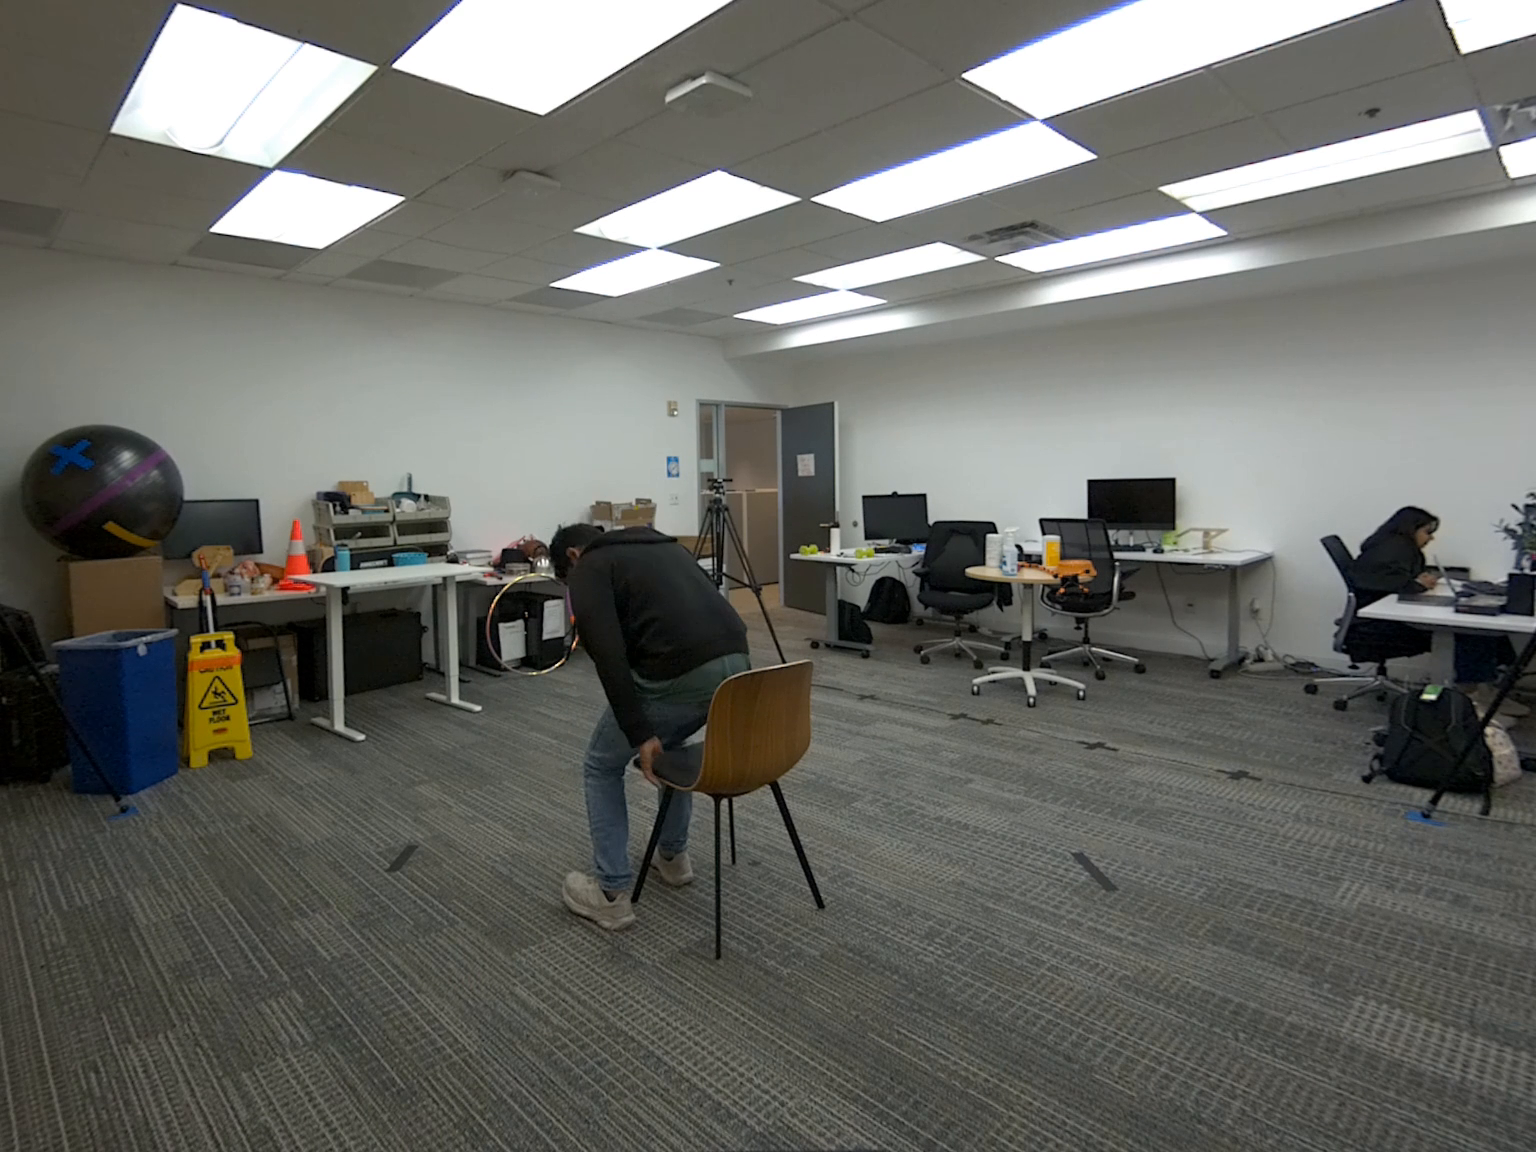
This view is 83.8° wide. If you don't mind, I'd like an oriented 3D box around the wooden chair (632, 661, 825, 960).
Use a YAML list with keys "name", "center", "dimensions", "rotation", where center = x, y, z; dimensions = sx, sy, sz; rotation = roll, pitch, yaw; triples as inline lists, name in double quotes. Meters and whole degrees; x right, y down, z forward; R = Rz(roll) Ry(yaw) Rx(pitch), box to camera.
- name: "wooden chair"
  center: [-0.139, 0.652, 2.784]
  dimensions: [0.466, 0.871, 0.541]
  rotation: [-6, 11, -41]
